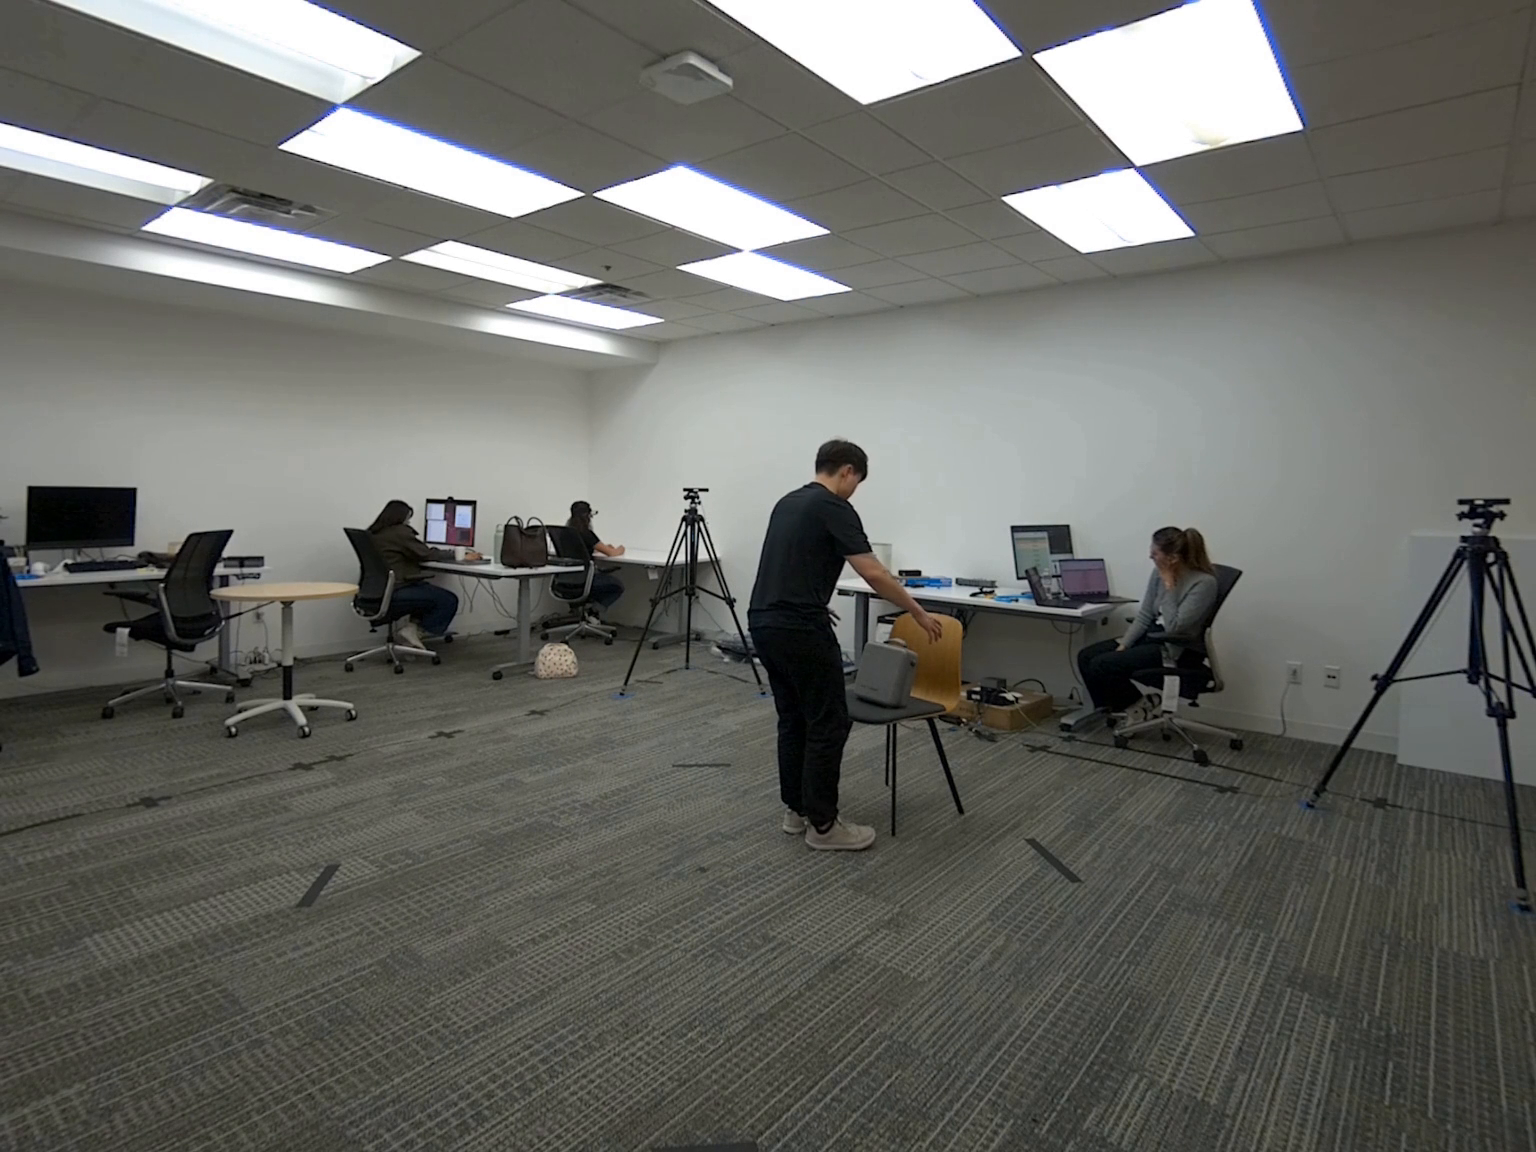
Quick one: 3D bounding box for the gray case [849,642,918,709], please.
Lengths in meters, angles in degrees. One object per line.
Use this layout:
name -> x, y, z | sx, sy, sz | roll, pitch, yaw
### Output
gray case -> 0.508, 0.419, 3.696 | 0.100, 0.262, 0.265 | 18, -7, -35
